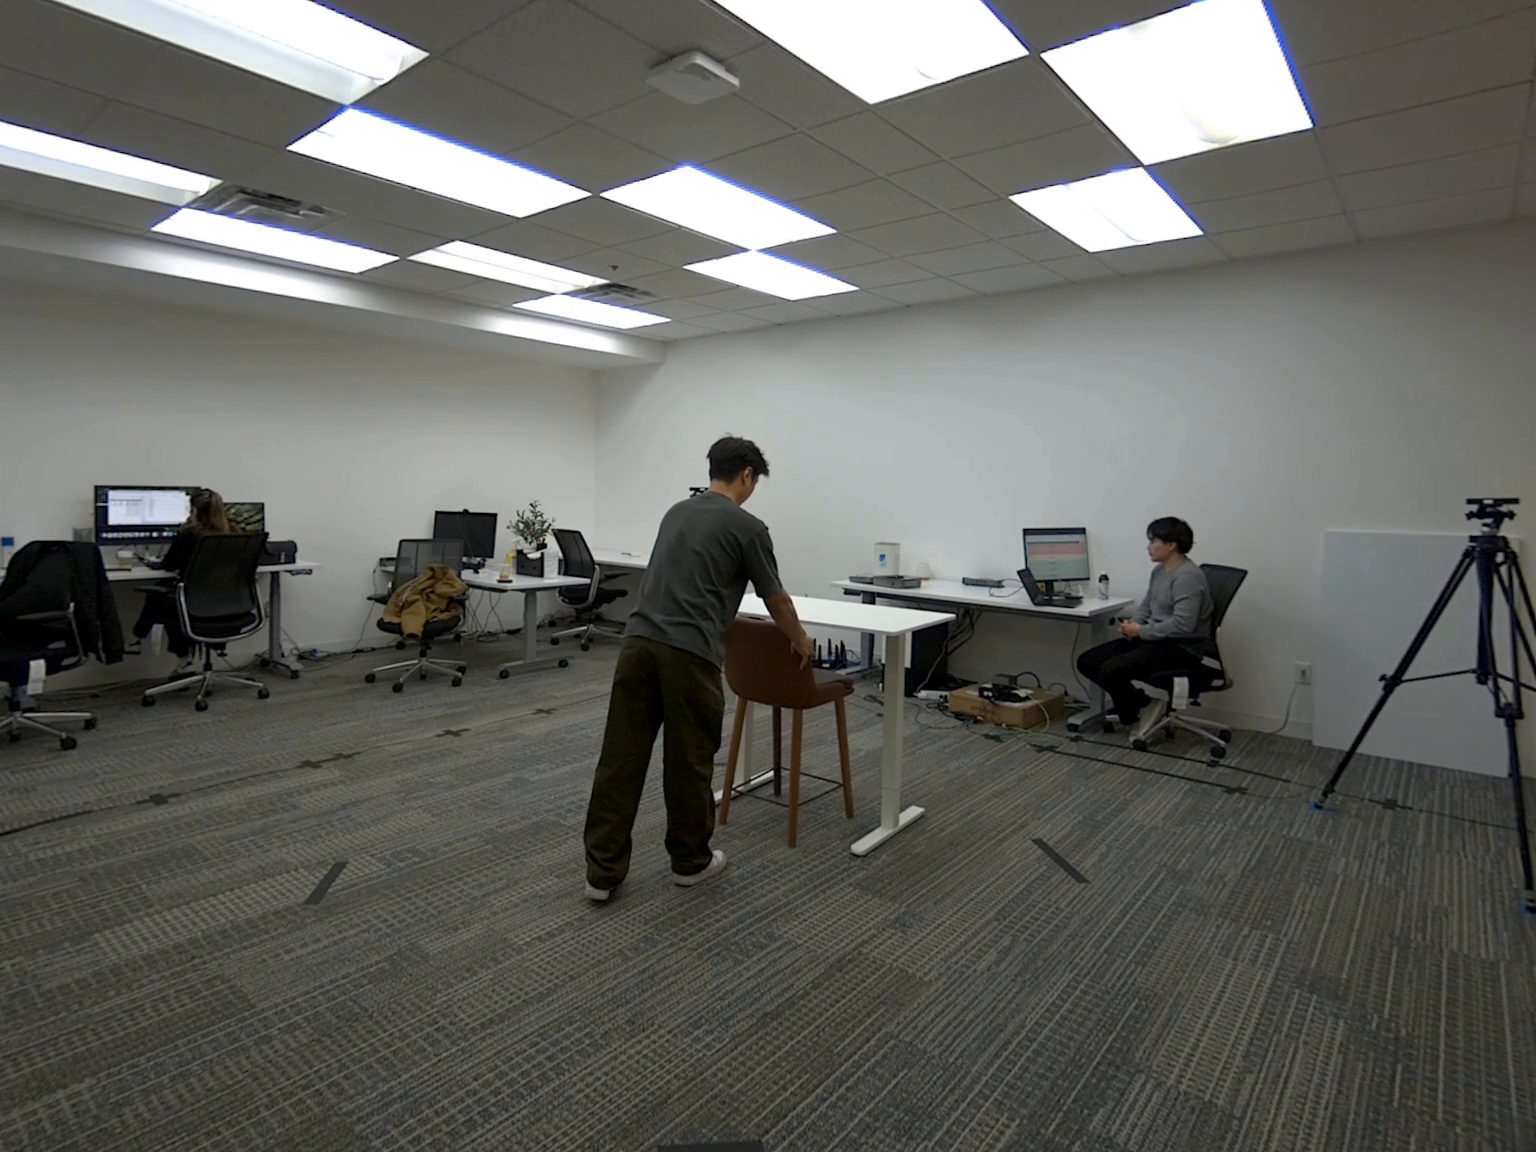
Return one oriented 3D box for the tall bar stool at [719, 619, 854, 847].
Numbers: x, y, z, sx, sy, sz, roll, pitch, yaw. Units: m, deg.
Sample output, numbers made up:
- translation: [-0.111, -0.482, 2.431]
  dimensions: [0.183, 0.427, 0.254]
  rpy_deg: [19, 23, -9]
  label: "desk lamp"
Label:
- translation: [0.071, 0.590, 3.562]
  dimensions: [0.471, 0.885, 0.455]
  rpy_deg: [4, 7, 37]
  label: "tall bar stool"
